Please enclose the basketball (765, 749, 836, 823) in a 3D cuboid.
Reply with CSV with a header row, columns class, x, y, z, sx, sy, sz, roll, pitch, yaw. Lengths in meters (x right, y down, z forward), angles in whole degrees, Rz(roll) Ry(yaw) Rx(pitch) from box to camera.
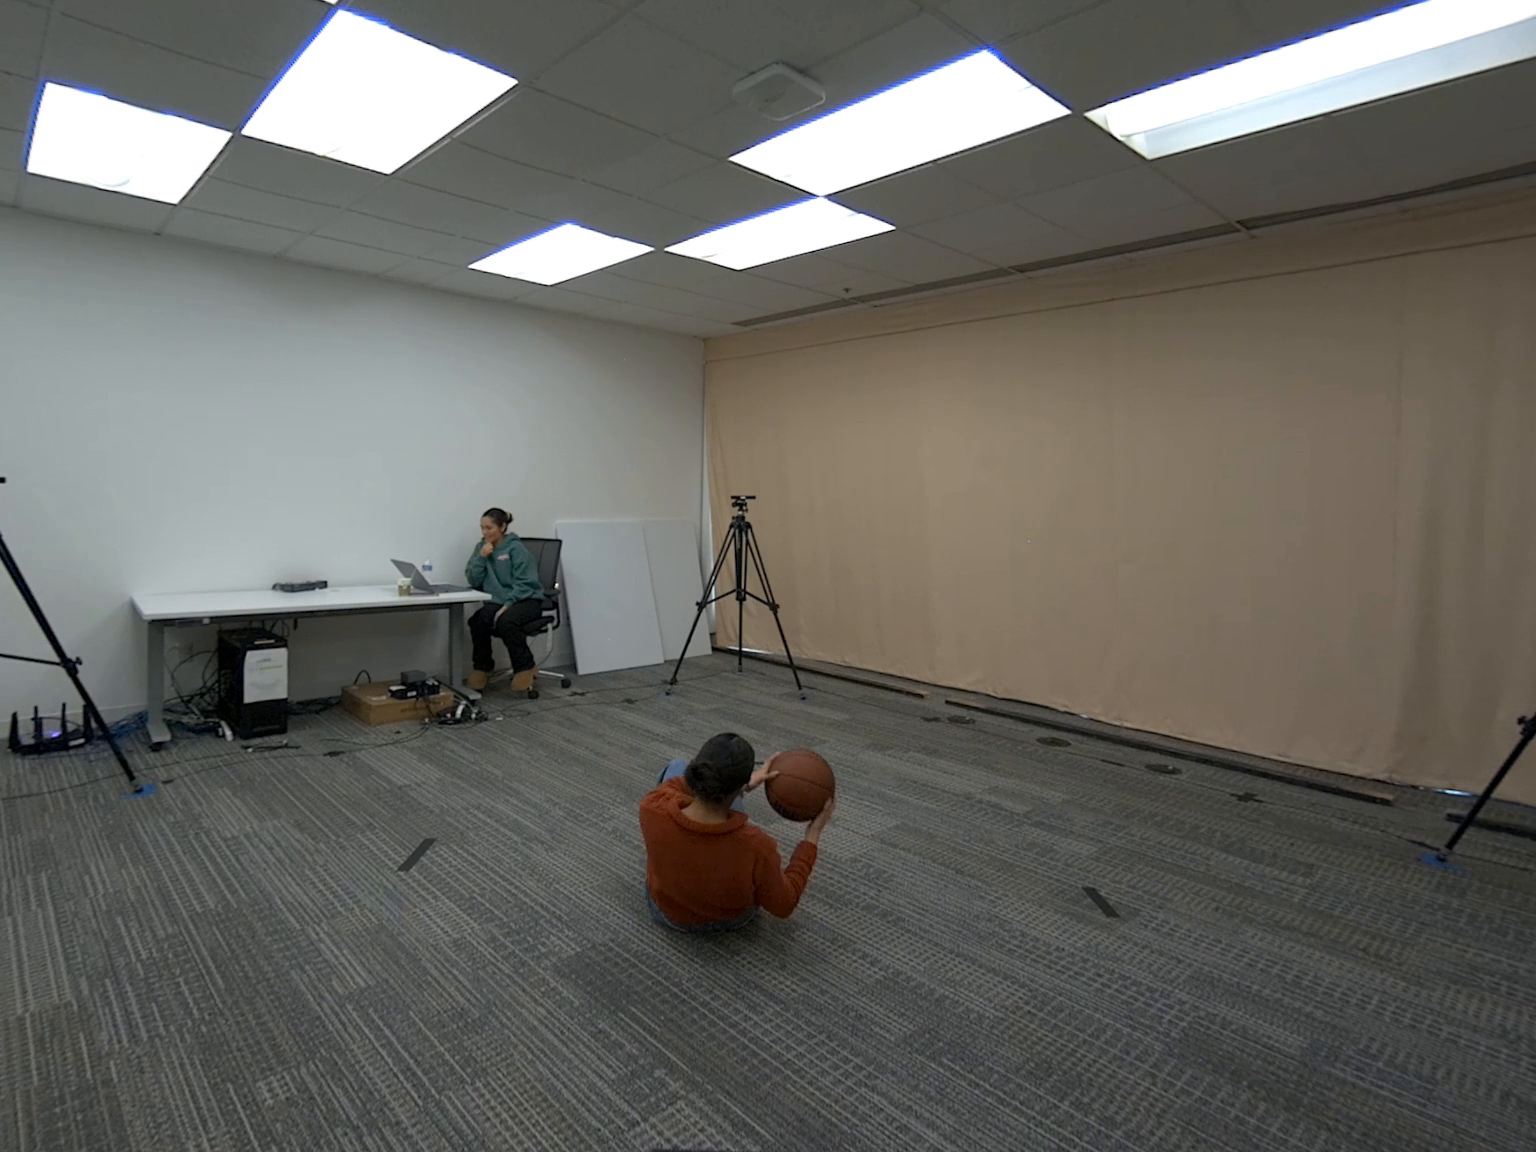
class,x,y,z,sx,sy,sz,roll,pitch,yaw
basketball,0.094,0.698,2.792,0.236,0.235,0.237,1,4,-1
